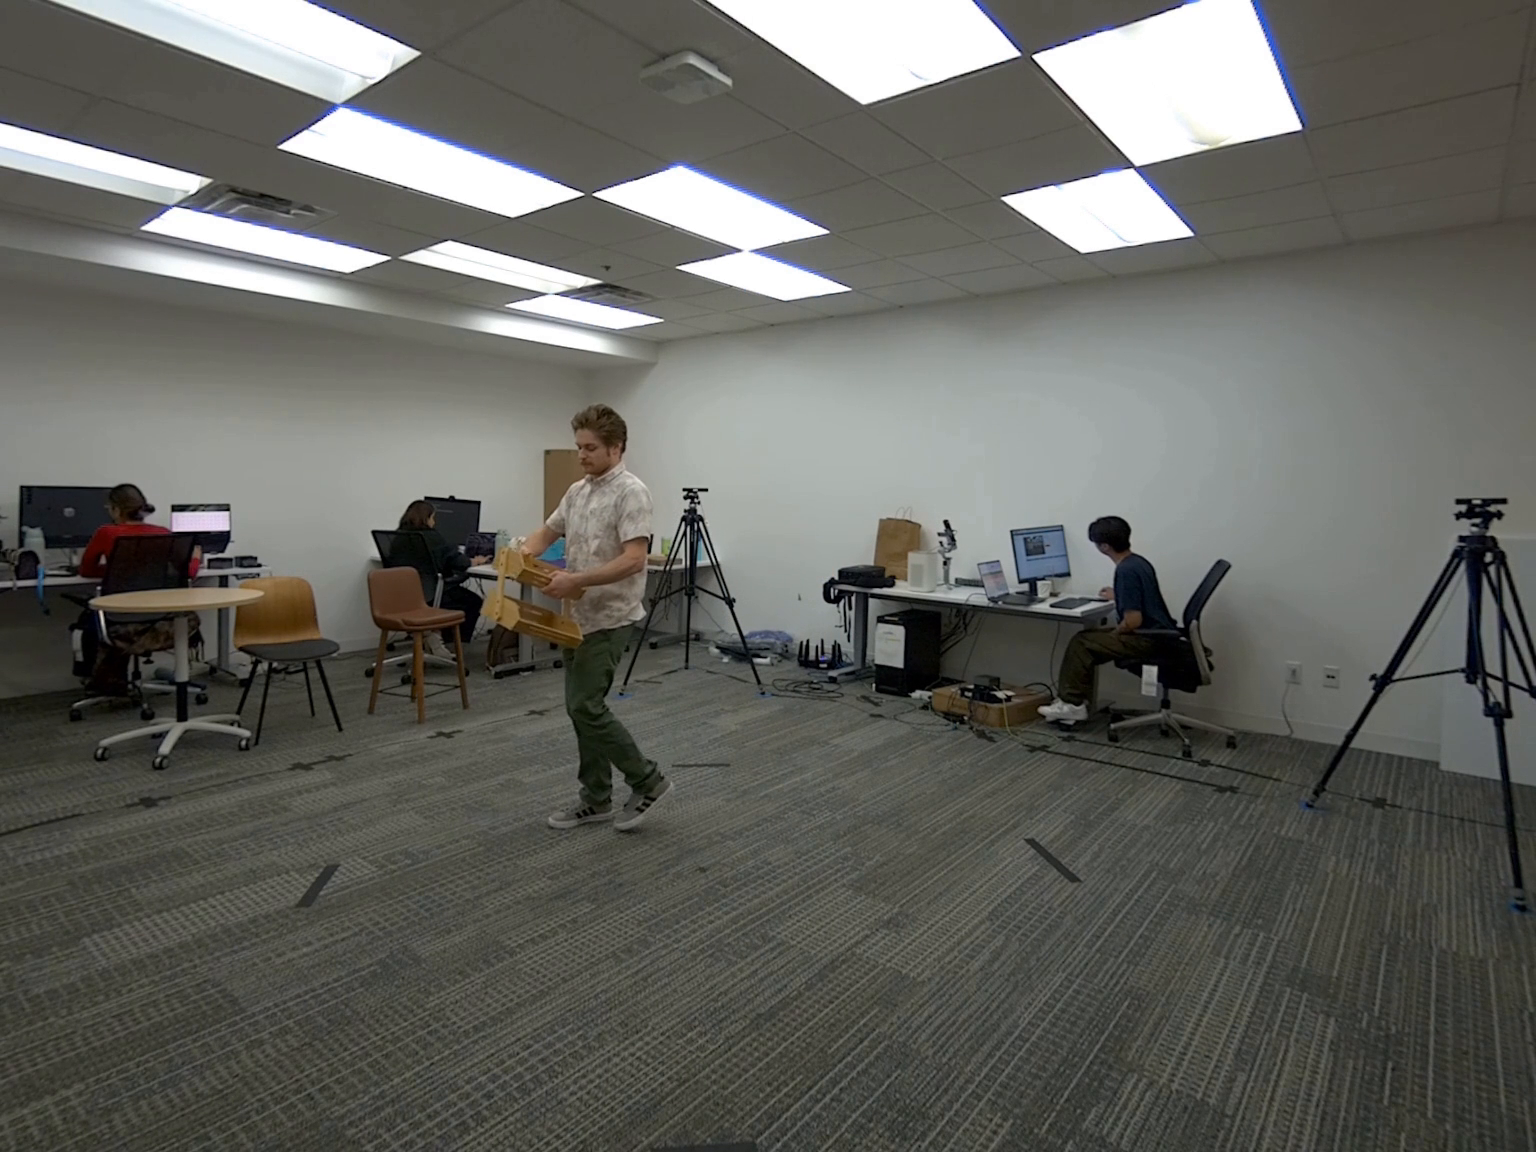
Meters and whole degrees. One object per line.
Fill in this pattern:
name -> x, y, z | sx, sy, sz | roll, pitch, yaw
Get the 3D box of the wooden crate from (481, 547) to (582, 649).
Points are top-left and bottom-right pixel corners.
wooden crate -> -0.864, 0.074, 3.179 | 0.314, 0.274, 0.311 | 15, -8, 44
